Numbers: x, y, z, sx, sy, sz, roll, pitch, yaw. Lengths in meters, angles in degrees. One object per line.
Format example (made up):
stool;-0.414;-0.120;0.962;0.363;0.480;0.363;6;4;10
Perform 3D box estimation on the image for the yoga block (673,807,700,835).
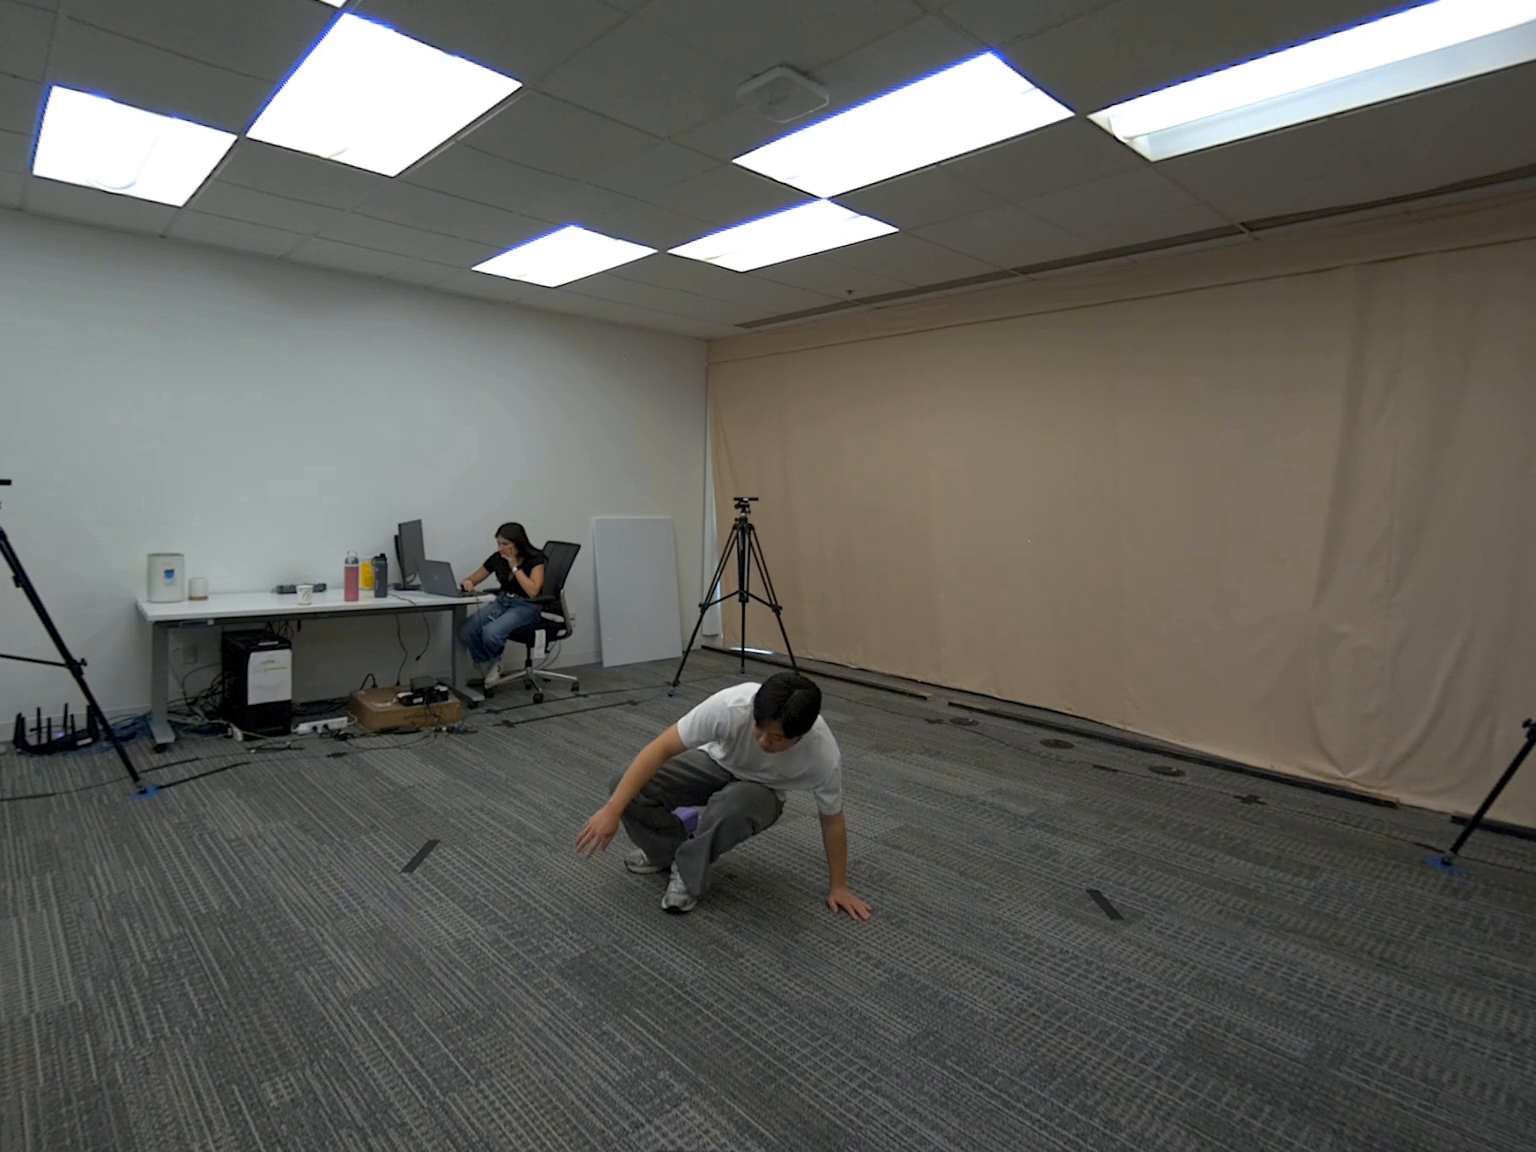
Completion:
yoga block;-0.414;1.034;3.492;0.152;0.076;0.225;5;6;27
